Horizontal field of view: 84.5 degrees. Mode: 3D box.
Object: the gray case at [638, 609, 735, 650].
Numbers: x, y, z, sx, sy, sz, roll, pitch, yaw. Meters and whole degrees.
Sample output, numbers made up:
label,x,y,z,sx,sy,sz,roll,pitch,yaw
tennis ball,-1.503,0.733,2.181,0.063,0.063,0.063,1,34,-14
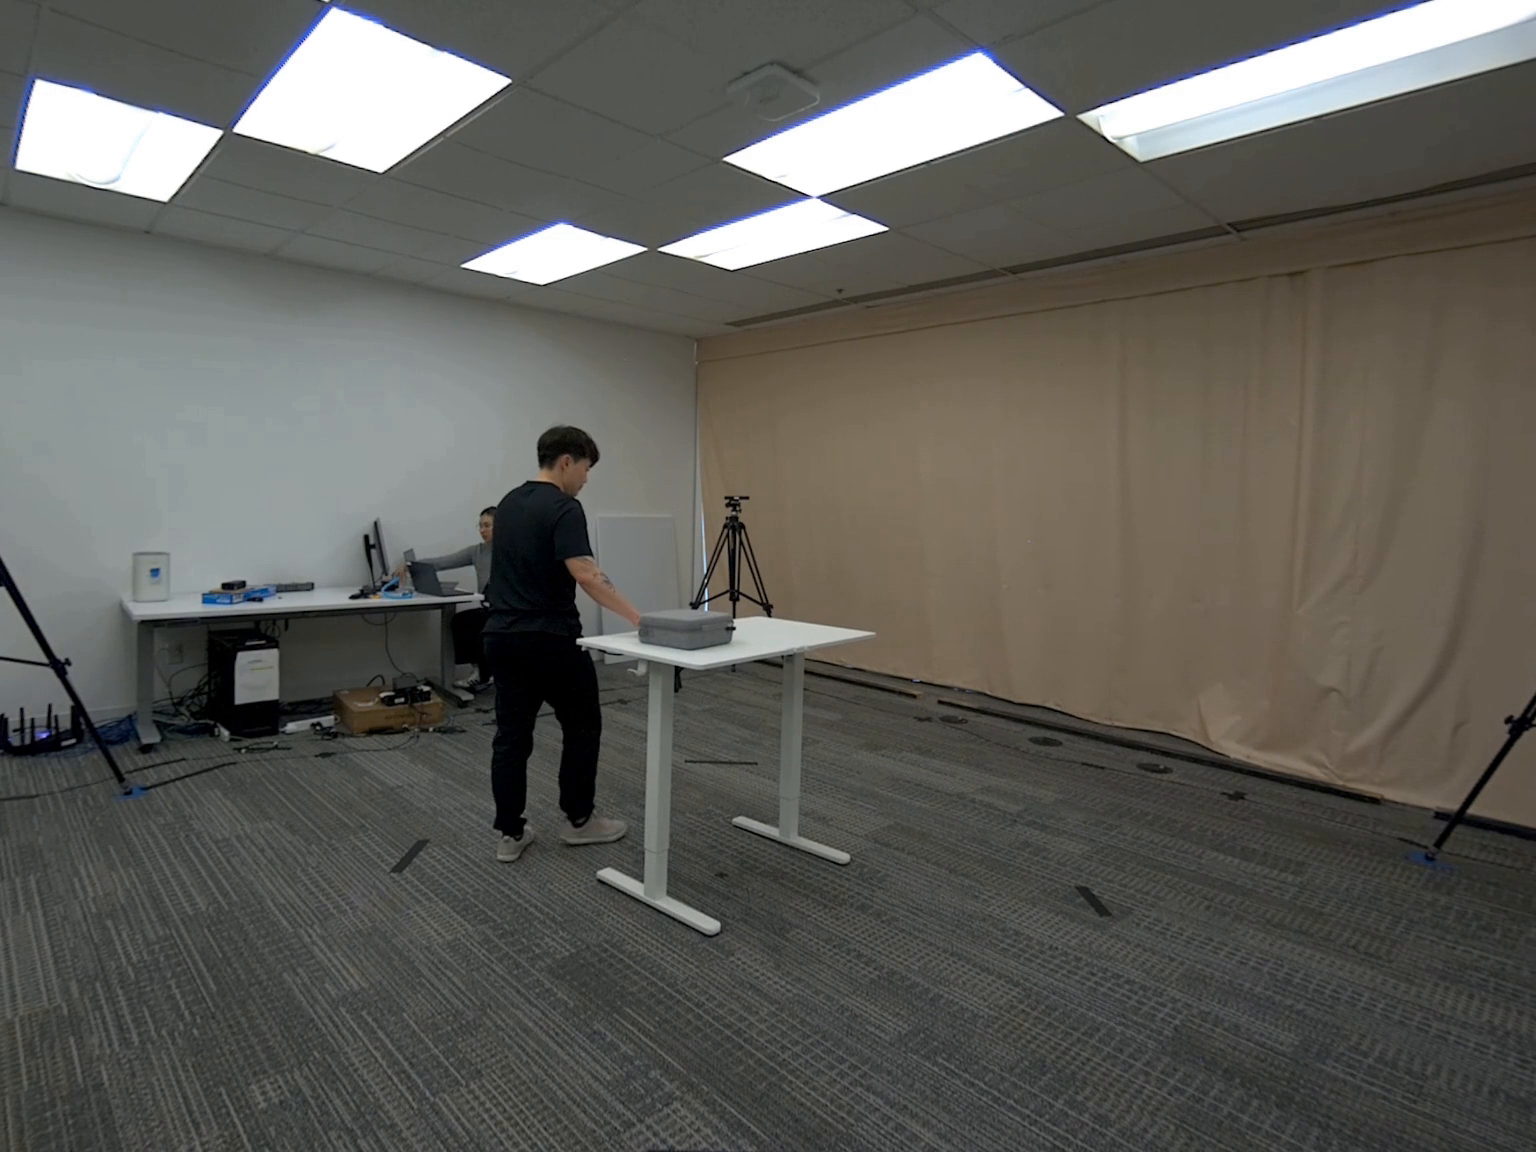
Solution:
label,x,y,z,sx,sy,sz,roll,pitch,yaw
gray case,-0.294,0.182,2.918,0.267,0.104,0.251,4,6,35
